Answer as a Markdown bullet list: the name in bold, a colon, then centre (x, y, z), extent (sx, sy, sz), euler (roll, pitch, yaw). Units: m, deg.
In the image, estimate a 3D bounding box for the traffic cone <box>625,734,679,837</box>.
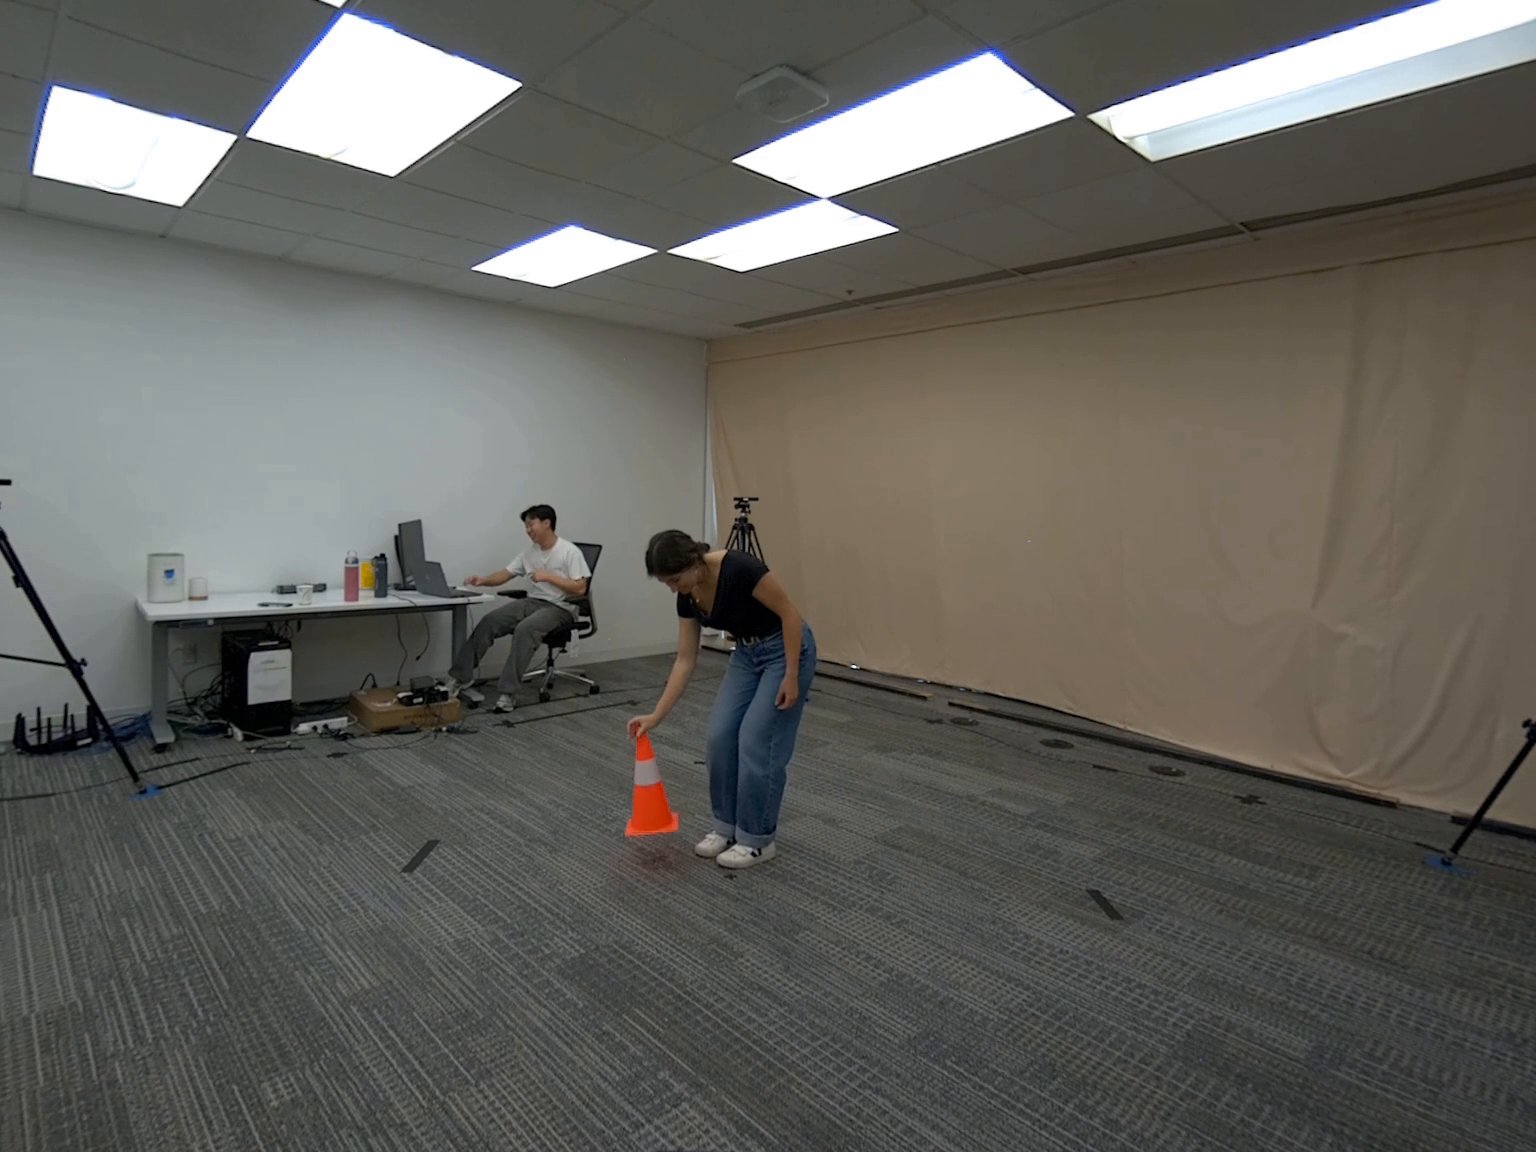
- **traffic cone**: centre (-0.472, 0.767, 3.221), extent (0.204, 0.384, 0.204), euler (-6, 0, -7)
